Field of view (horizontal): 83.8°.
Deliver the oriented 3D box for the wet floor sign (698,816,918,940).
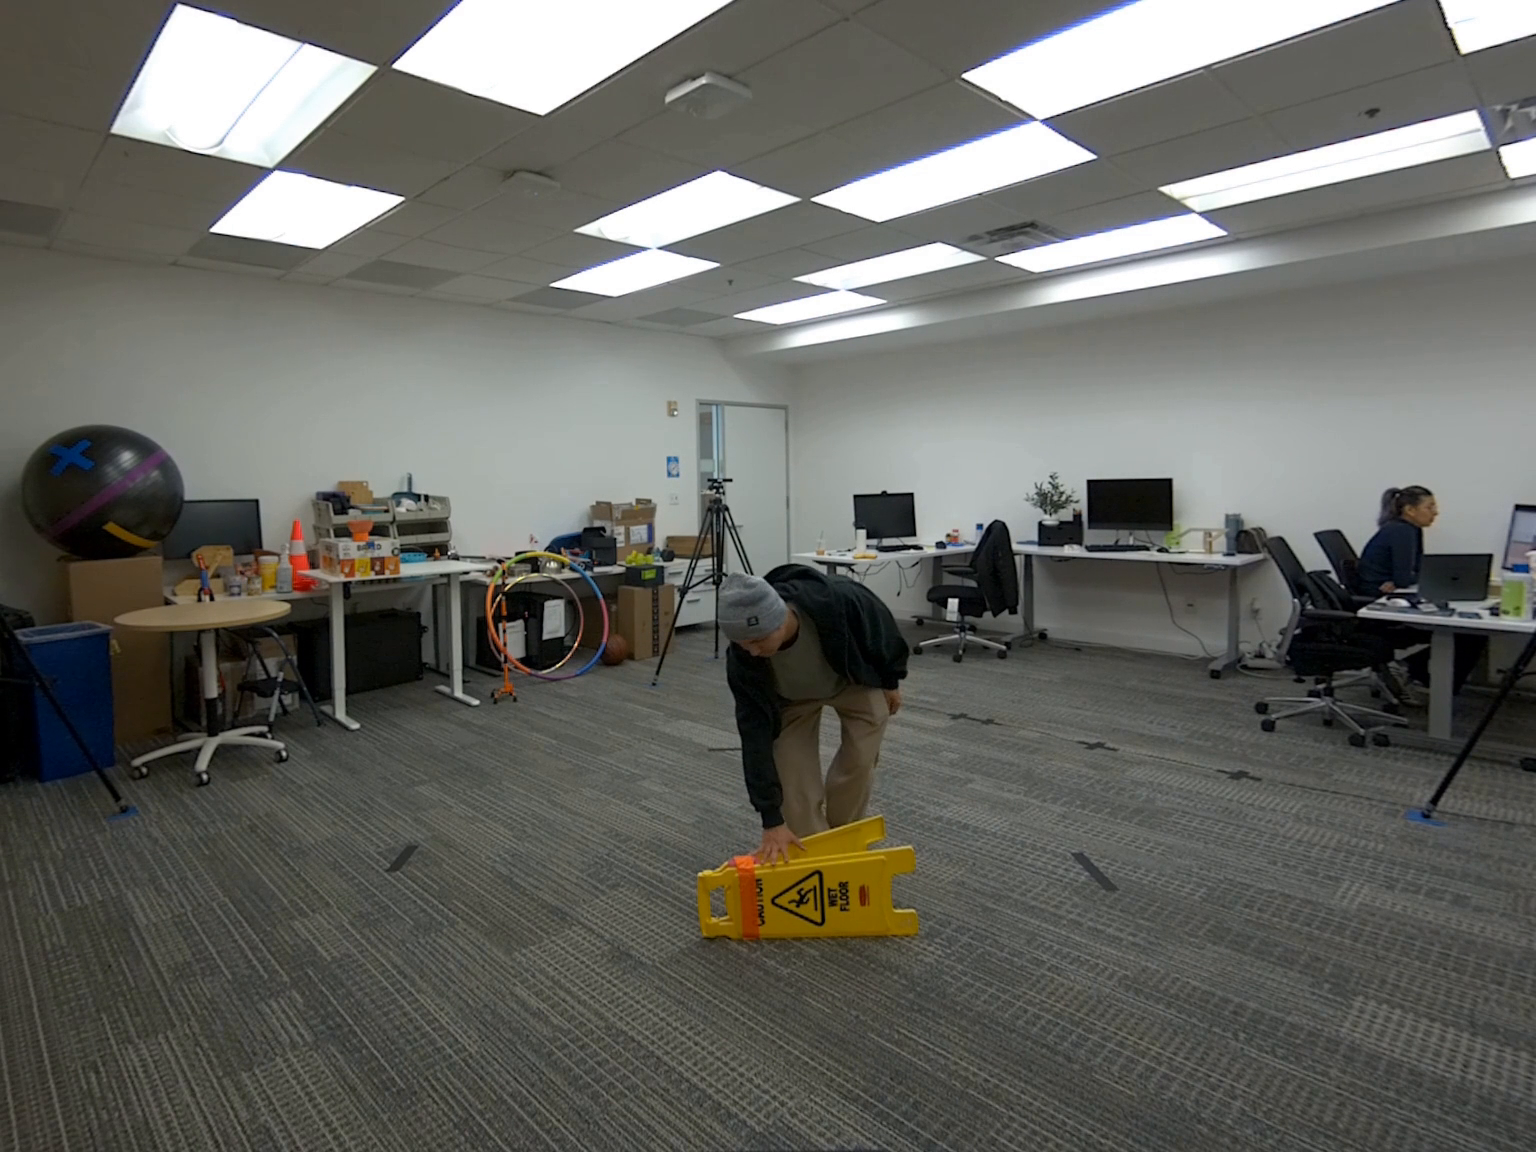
[{"bbox_3d":[0.110,0.972,2.640,0.640,0.281,0.294,-5,7,-10],"label":"wet floor sign"}]
